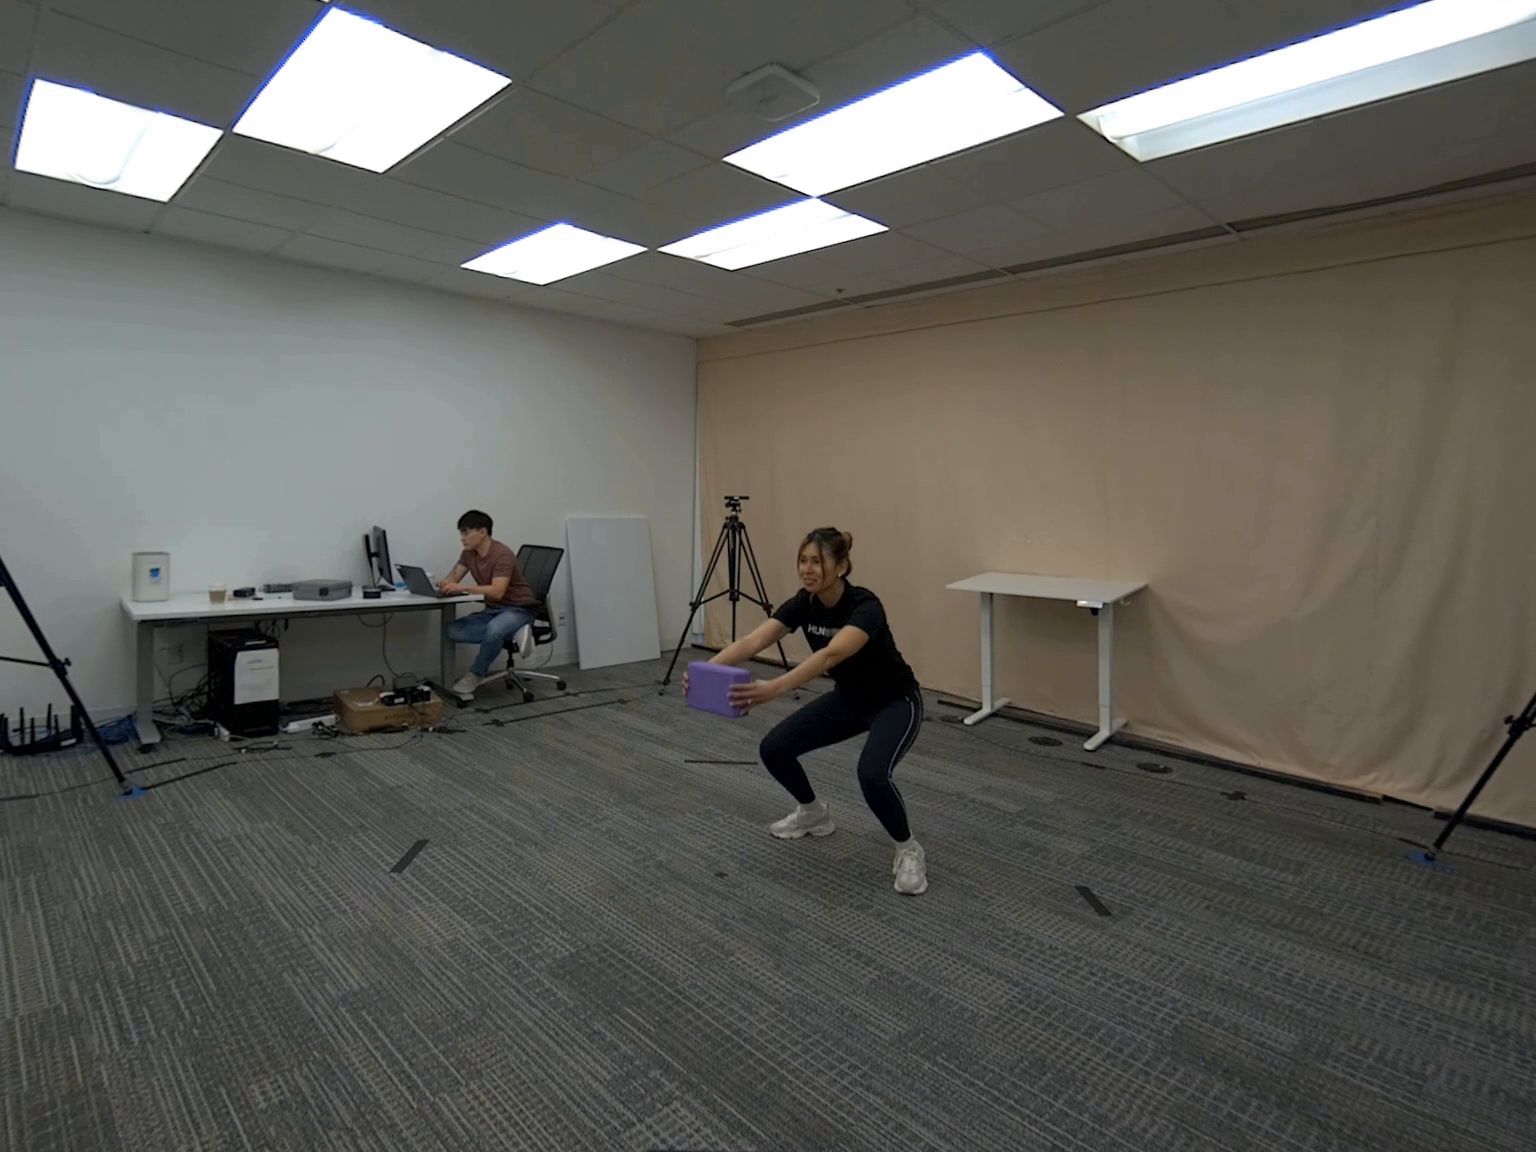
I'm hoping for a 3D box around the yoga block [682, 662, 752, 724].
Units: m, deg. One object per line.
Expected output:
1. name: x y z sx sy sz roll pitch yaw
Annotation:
1. yoga block: -0.168 0.374 2.742 0.235 0.148 0.075 5 5 41
